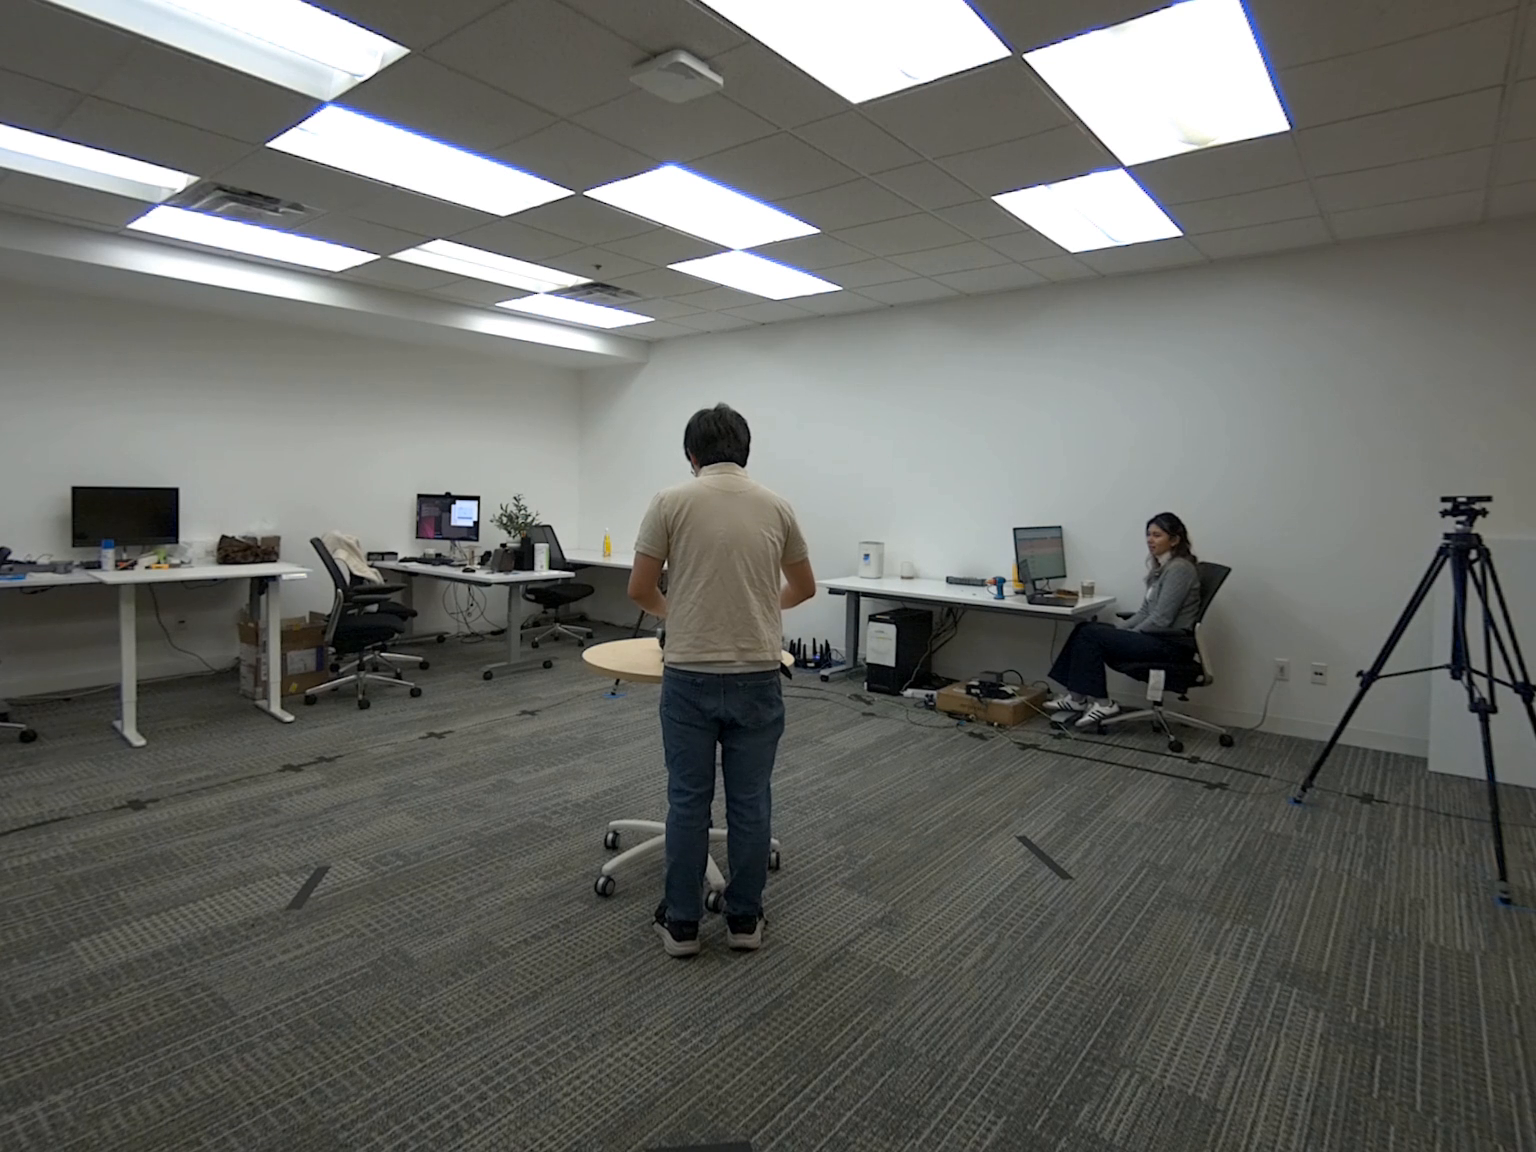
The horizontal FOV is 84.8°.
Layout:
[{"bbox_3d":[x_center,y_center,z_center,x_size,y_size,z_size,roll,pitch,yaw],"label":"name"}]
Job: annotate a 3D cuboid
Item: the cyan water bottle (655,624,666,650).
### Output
[{"bbox_3d":[-0.279,0.227,3.156,0.281,0.092,0.093,0,4,-8],"label":"cyan water bottle"}]
